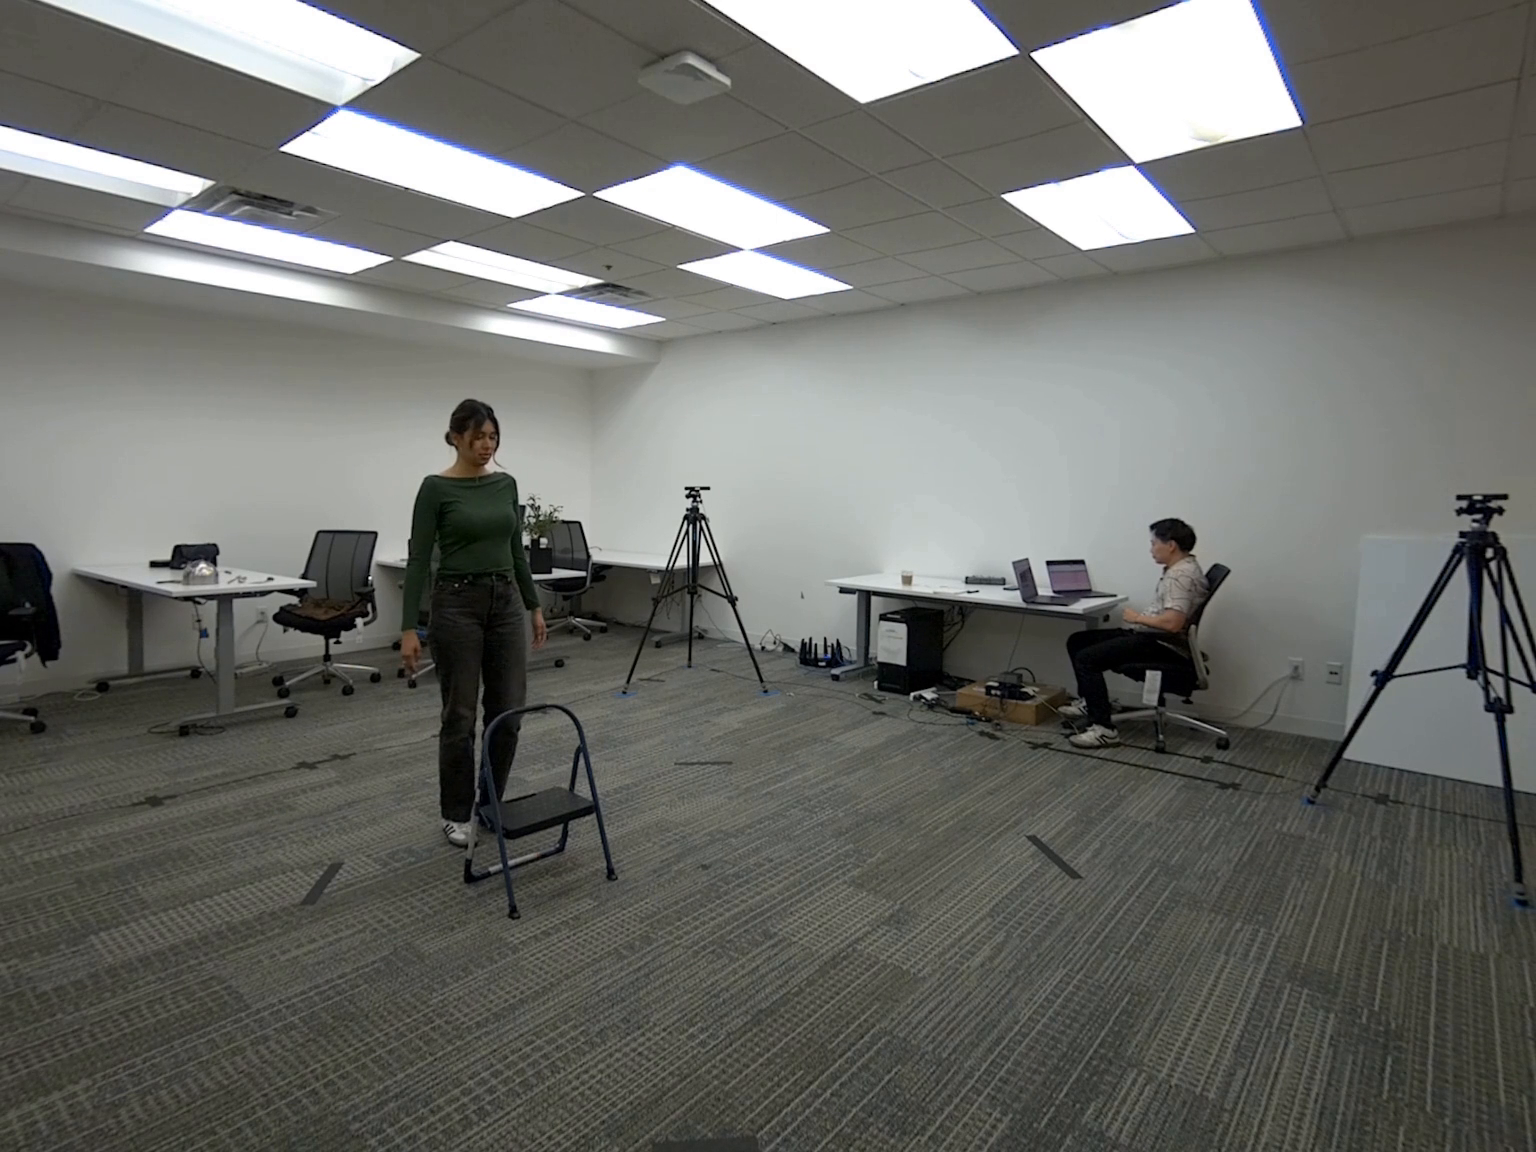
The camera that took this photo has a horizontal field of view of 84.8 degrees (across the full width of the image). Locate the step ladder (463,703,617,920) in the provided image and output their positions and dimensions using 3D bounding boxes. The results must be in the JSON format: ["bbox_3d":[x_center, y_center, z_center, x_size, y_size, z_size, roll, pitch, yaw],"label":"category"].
[{"bbox_3d":[-0.805,0.766,2.974,0.361,0.604,0.417,3,4,43],"label":"step ladder"}]
